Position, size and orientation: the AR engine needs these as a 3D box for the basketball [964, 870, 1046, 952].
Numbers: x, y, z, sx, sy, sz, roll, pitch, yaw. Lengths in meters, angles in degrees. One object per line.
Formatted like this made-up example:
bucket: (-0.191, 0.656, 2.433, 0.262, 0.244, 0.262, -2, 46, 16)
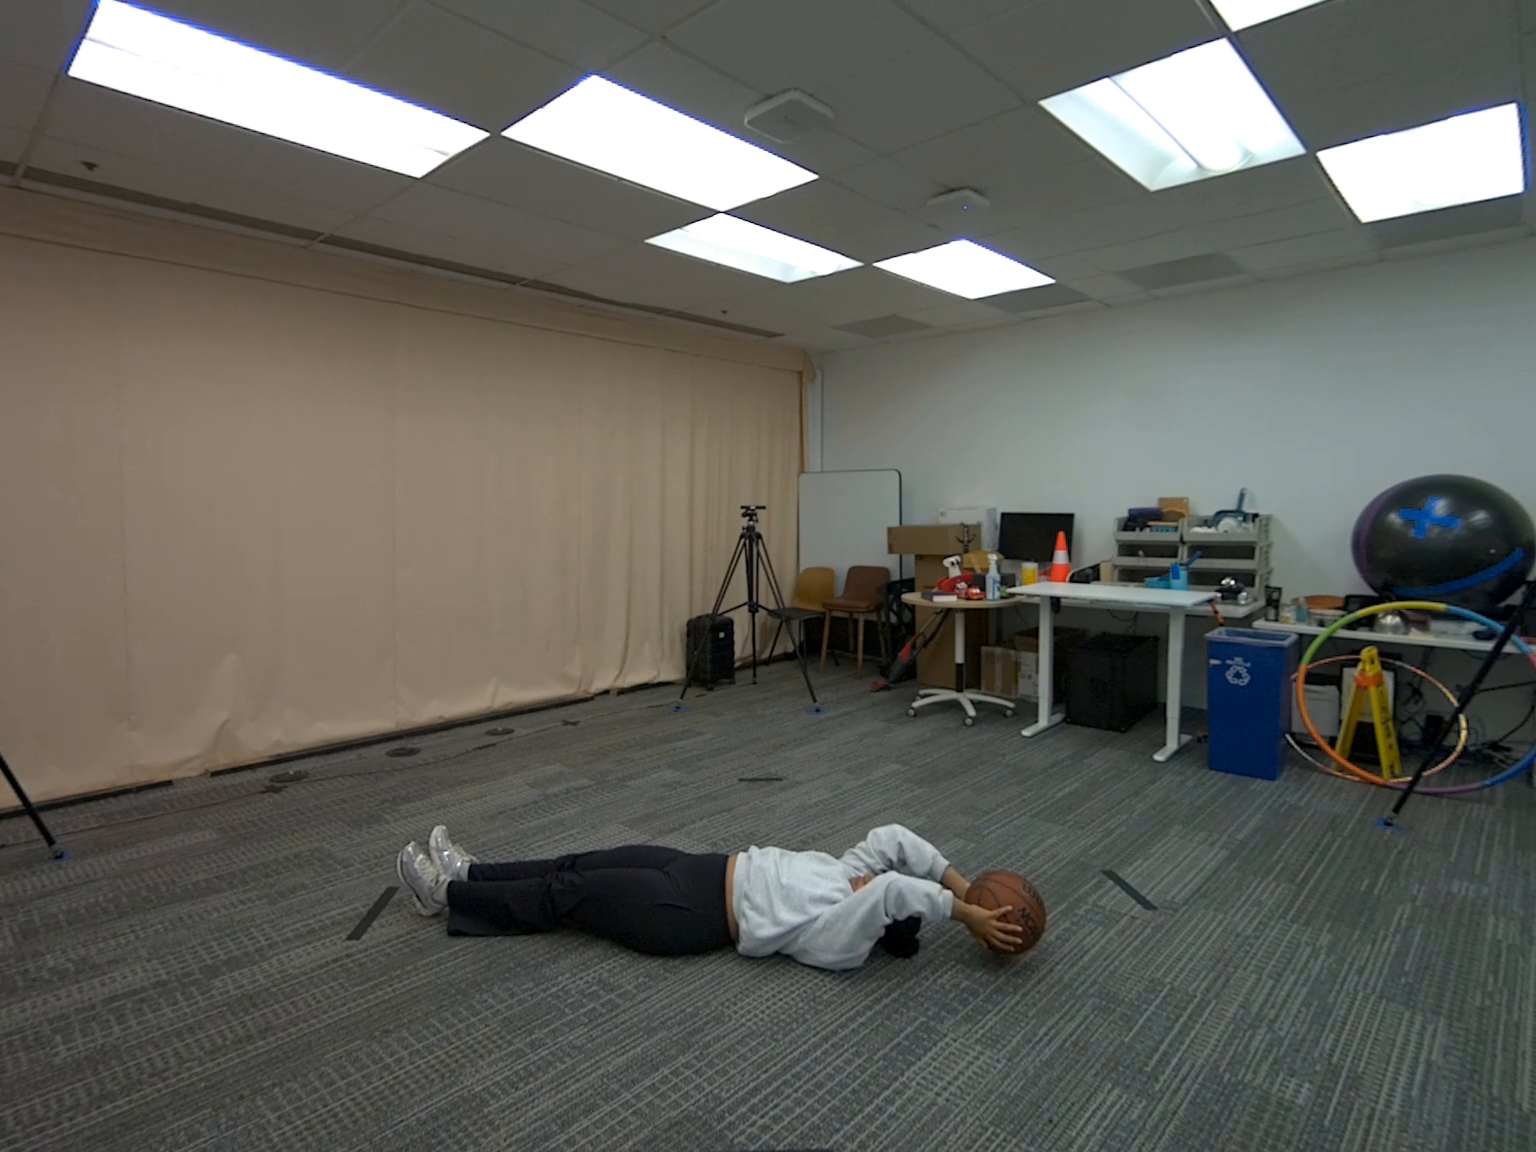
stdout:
basketball: (0.726, 1.016, 2.570, 0.235, 0.235, 0.237, 1, 4, -2)
